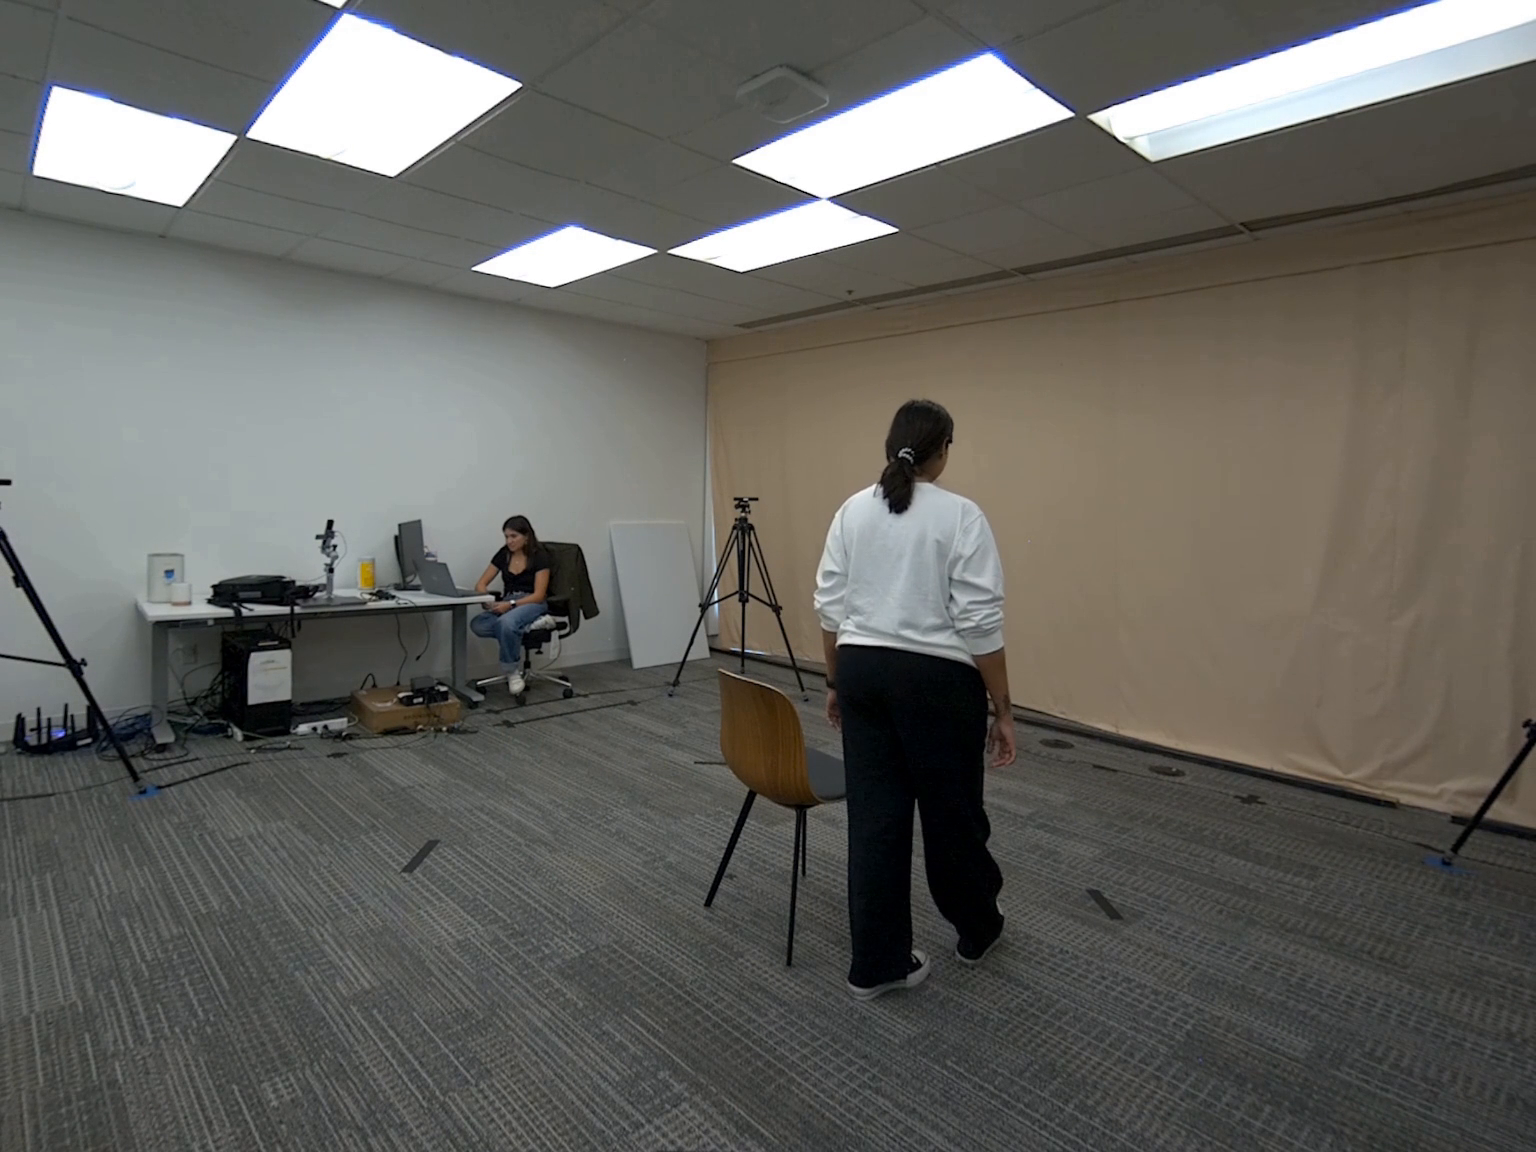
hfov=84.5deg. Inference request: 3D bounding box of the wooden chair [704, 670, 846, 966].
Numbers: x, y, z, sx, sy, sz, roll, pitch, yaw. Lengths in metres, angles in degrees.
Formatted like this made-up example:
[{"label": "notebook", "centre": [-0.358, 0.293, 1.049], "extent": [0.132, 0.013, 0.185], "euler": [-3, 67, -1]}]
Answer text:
[{"label": "wooden chair", "centre": [0.108, 0.713, 2.800], "extent": [0.512, 0.873, 0.490], "euler": [-7, 8, -38]}]
